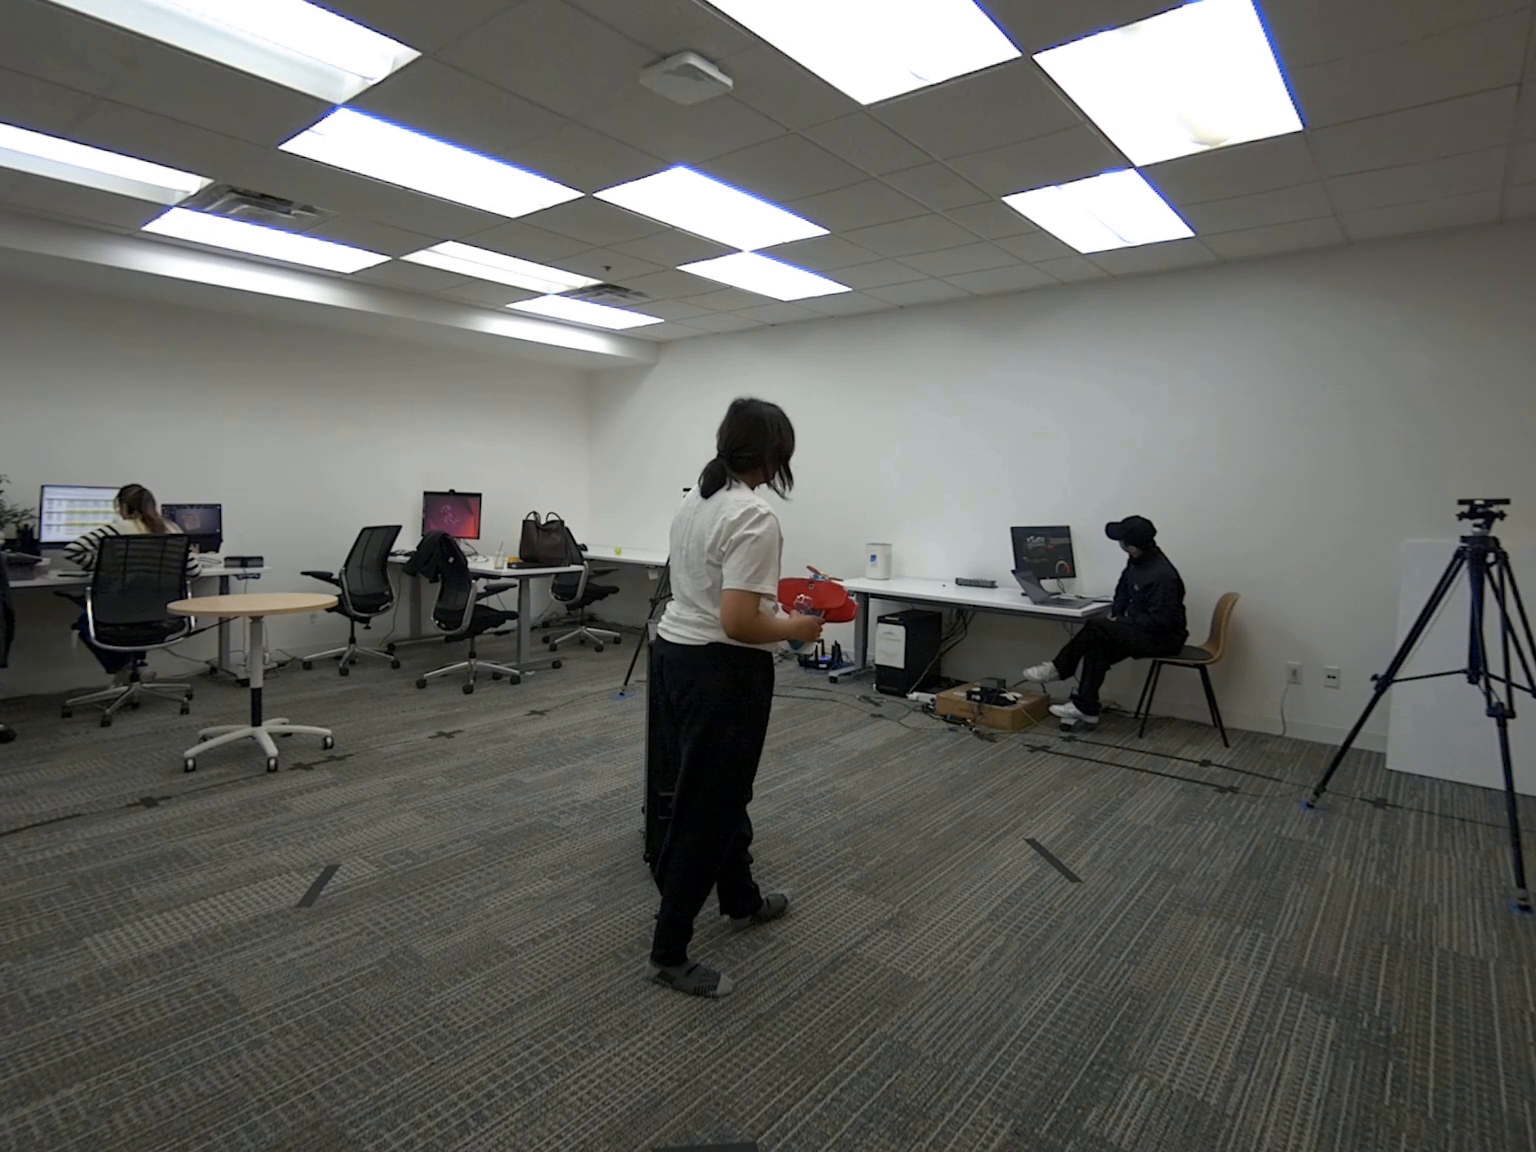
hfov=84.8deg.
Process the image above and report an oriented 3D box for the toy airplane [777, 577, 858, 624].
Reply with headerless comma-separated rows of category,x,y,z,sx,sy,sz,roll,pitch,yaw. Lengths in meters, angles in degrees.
toy airplane,0.144,0.108,2.512,0.254,0.150,0.266,-15,39,16
